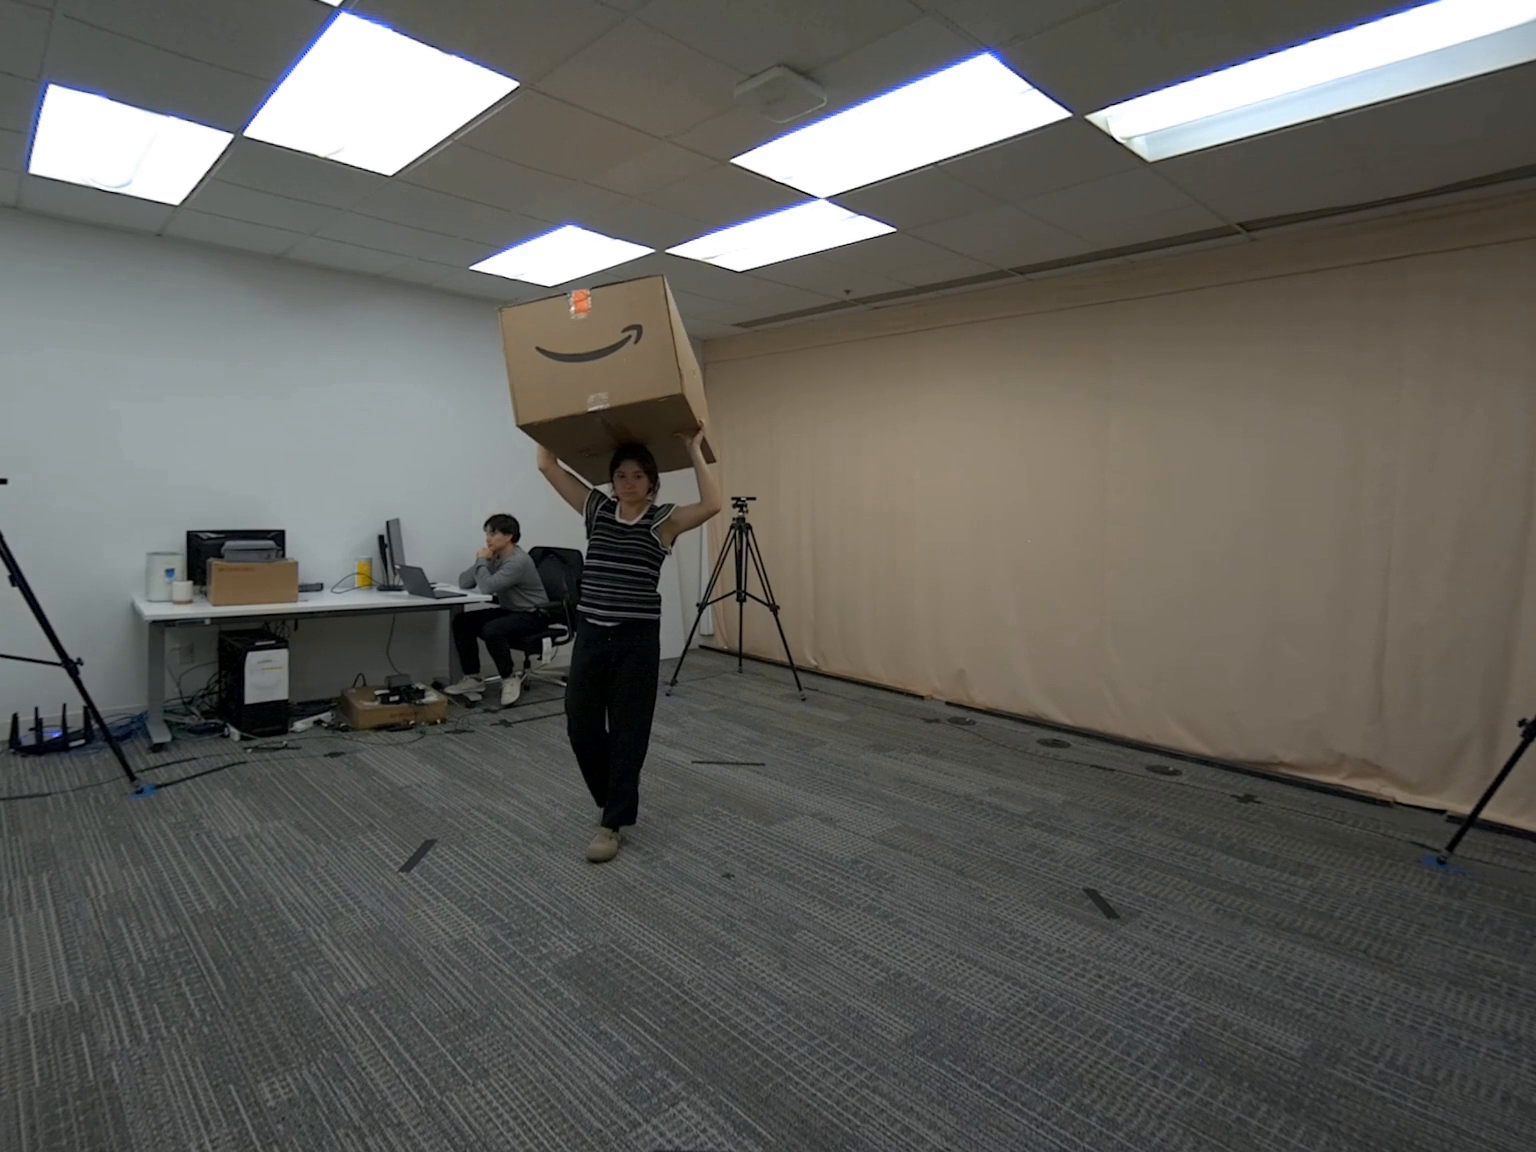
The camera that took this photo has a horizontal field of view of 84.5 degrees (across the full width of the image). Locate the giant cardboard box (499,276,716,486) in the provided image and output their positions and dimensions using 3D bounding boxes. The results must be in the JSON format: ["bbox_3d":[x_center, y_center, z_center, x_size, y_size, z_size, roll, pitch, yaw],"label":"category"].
[{"bbox_3d":[-0.584,-0.712,3.292,0.579,0.429,1.017,-10,-6,2],"label":"giant cardboard box"}]
